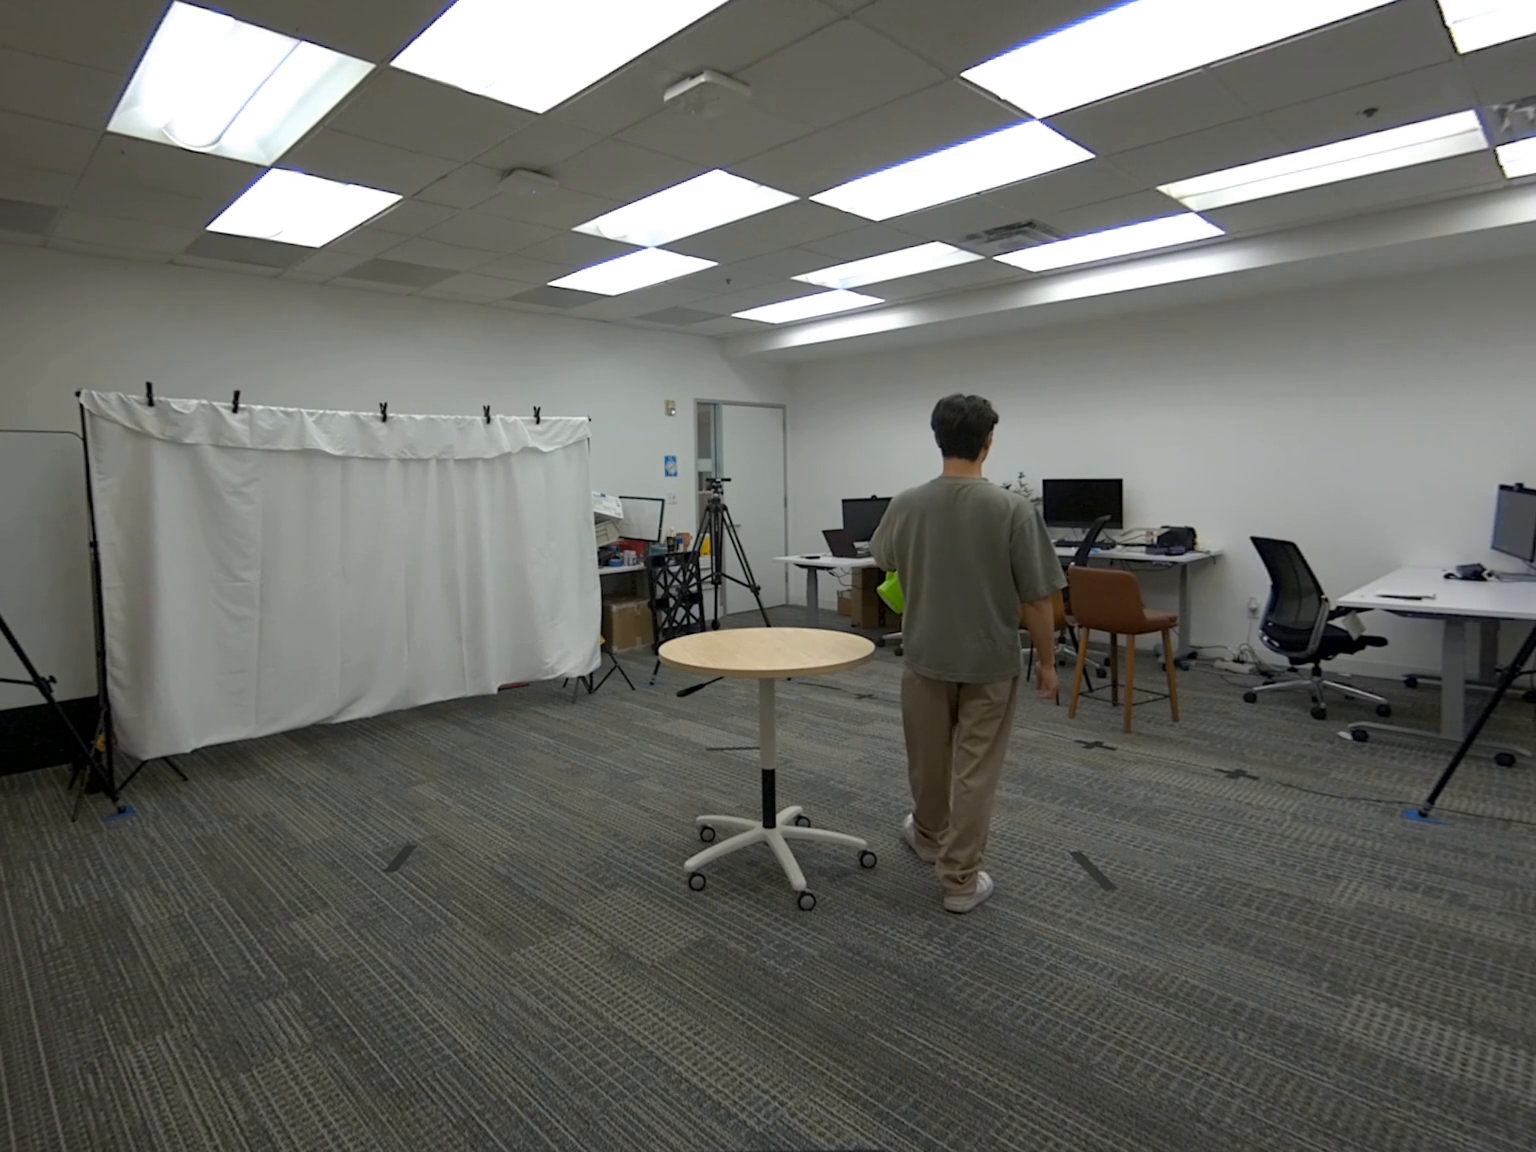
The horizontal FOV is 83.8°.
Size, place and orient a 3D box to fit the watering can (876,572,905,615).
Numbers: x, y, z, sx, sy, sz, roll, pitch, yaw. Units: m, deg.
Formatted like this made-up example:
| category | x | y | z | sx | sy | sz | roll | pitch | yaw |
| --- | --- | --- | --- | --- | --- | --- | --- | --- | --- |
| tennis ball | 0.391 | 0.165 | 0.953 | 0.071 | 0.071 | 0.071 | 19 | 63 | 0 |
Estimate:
| category | x | y | z | sx | sy | sz | roll | pitch | yaw |
| --- | --- | --- | --- | --- | --- | --- | --- | --- | --- |
| watering can | 0.561 | 0.075 | 3.318 | 0.177 | 0.282 | 0.097 | -42 | -9 | -5 |
